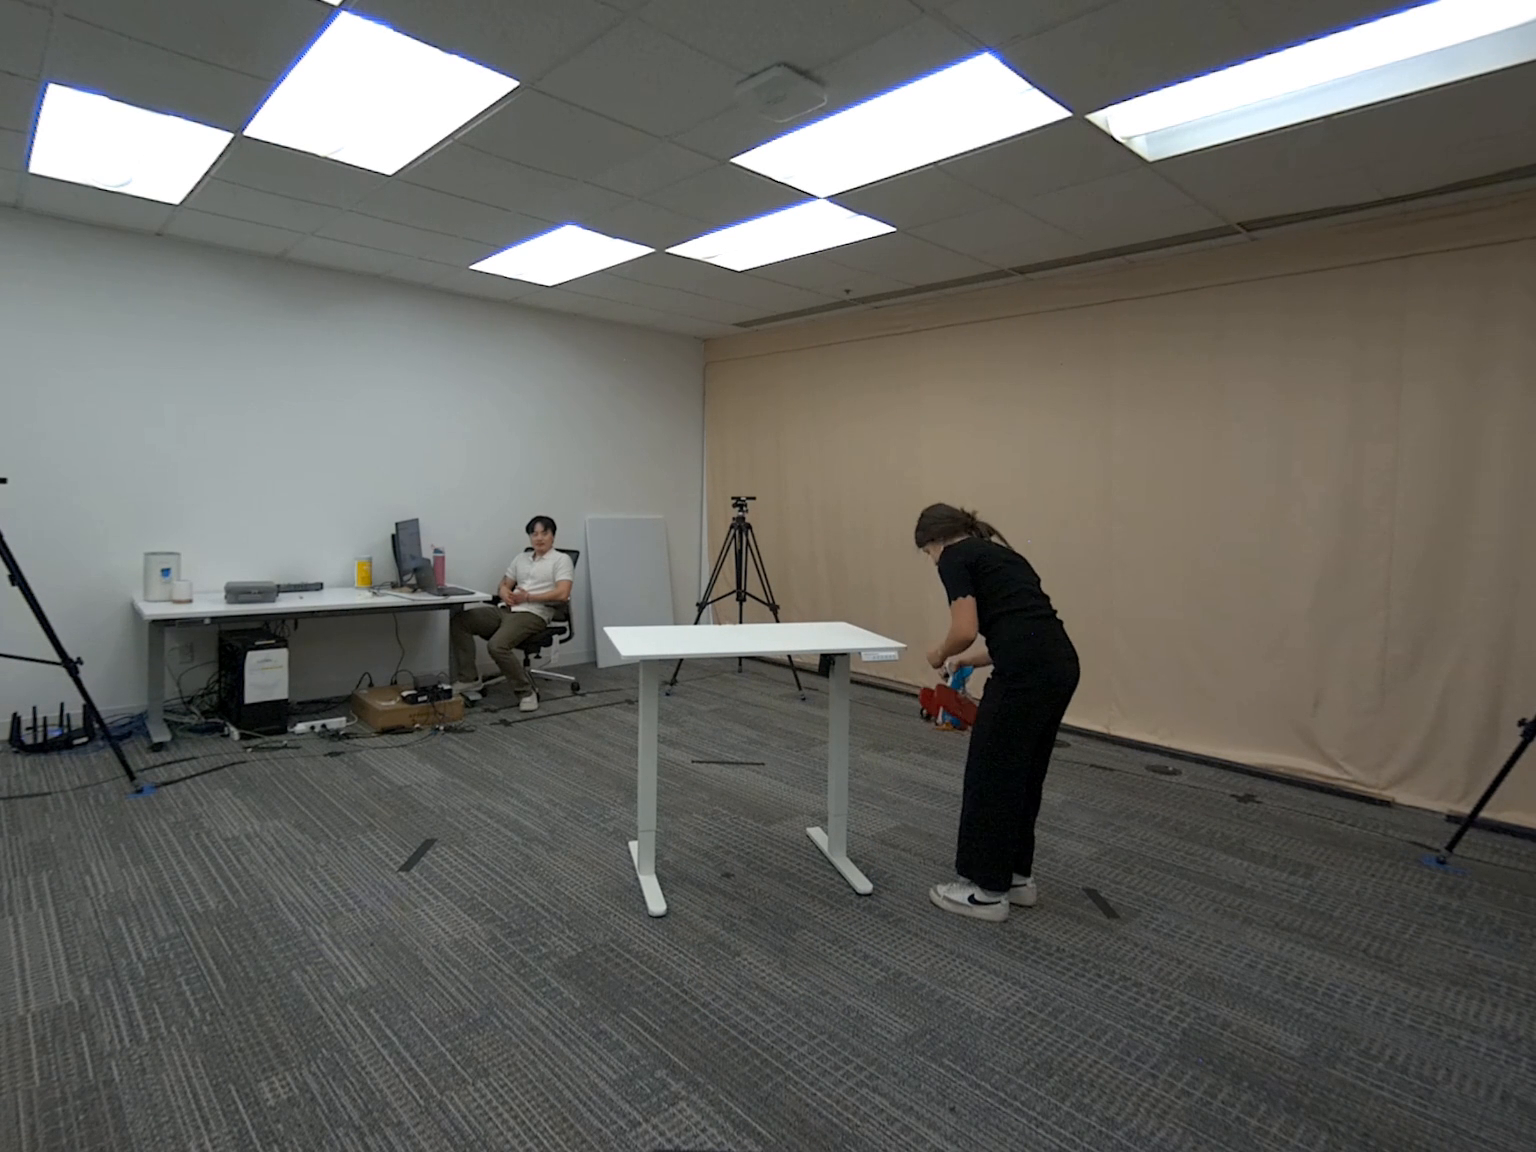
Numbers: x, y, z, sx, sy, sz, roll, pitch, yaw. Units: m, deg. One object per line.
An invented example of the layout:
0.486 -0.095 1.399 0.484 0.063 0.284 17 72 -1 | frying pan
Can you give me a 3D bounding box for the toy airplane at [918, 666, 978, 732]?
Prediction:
0.647 0.450 3.106 0.246 0.260 0.159 4 -6 -28 | toy airplane
